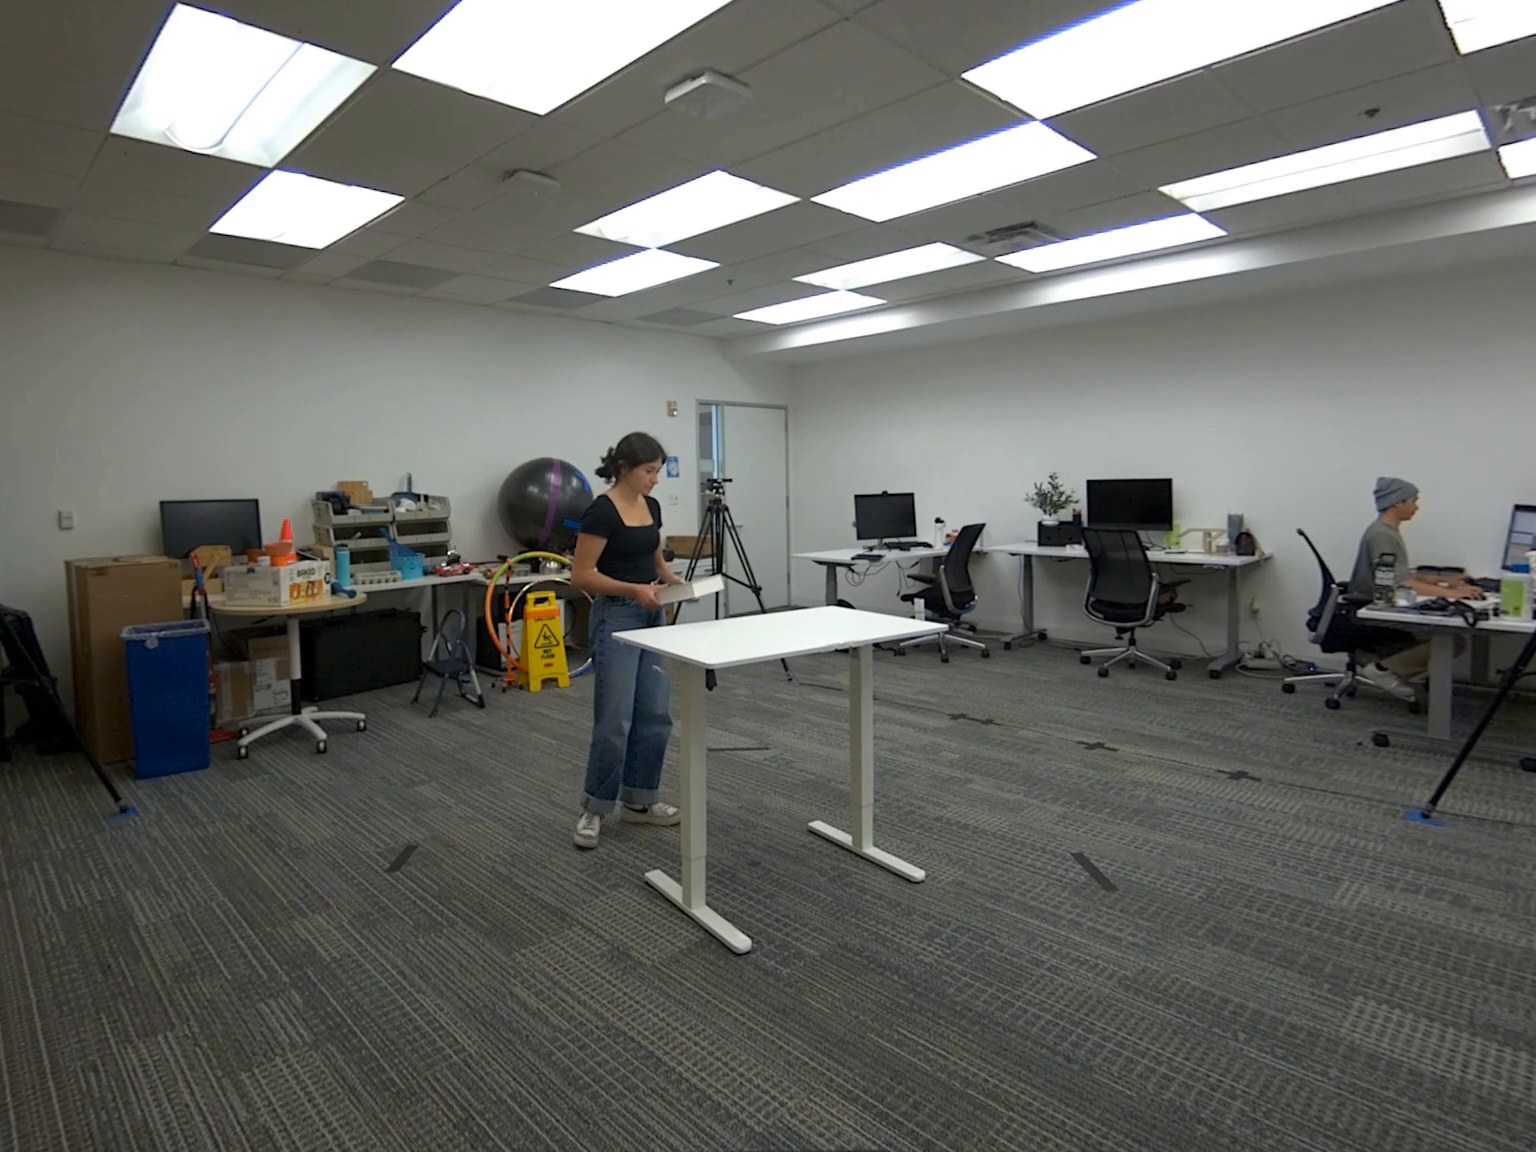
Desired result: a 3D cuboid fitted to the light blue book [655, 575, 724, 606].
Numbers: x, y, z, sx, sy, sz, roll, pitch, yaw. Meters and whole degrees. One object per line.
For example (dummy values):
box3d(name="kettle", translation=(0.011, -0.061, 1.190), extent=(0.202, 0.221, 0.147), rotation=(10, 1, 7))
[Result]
box3d(name="light blue book", translation=(-0.327, 0.060, 3.244), extent=(0.266, 0.059, 0.187), rotation=(-12, 2, 34))
